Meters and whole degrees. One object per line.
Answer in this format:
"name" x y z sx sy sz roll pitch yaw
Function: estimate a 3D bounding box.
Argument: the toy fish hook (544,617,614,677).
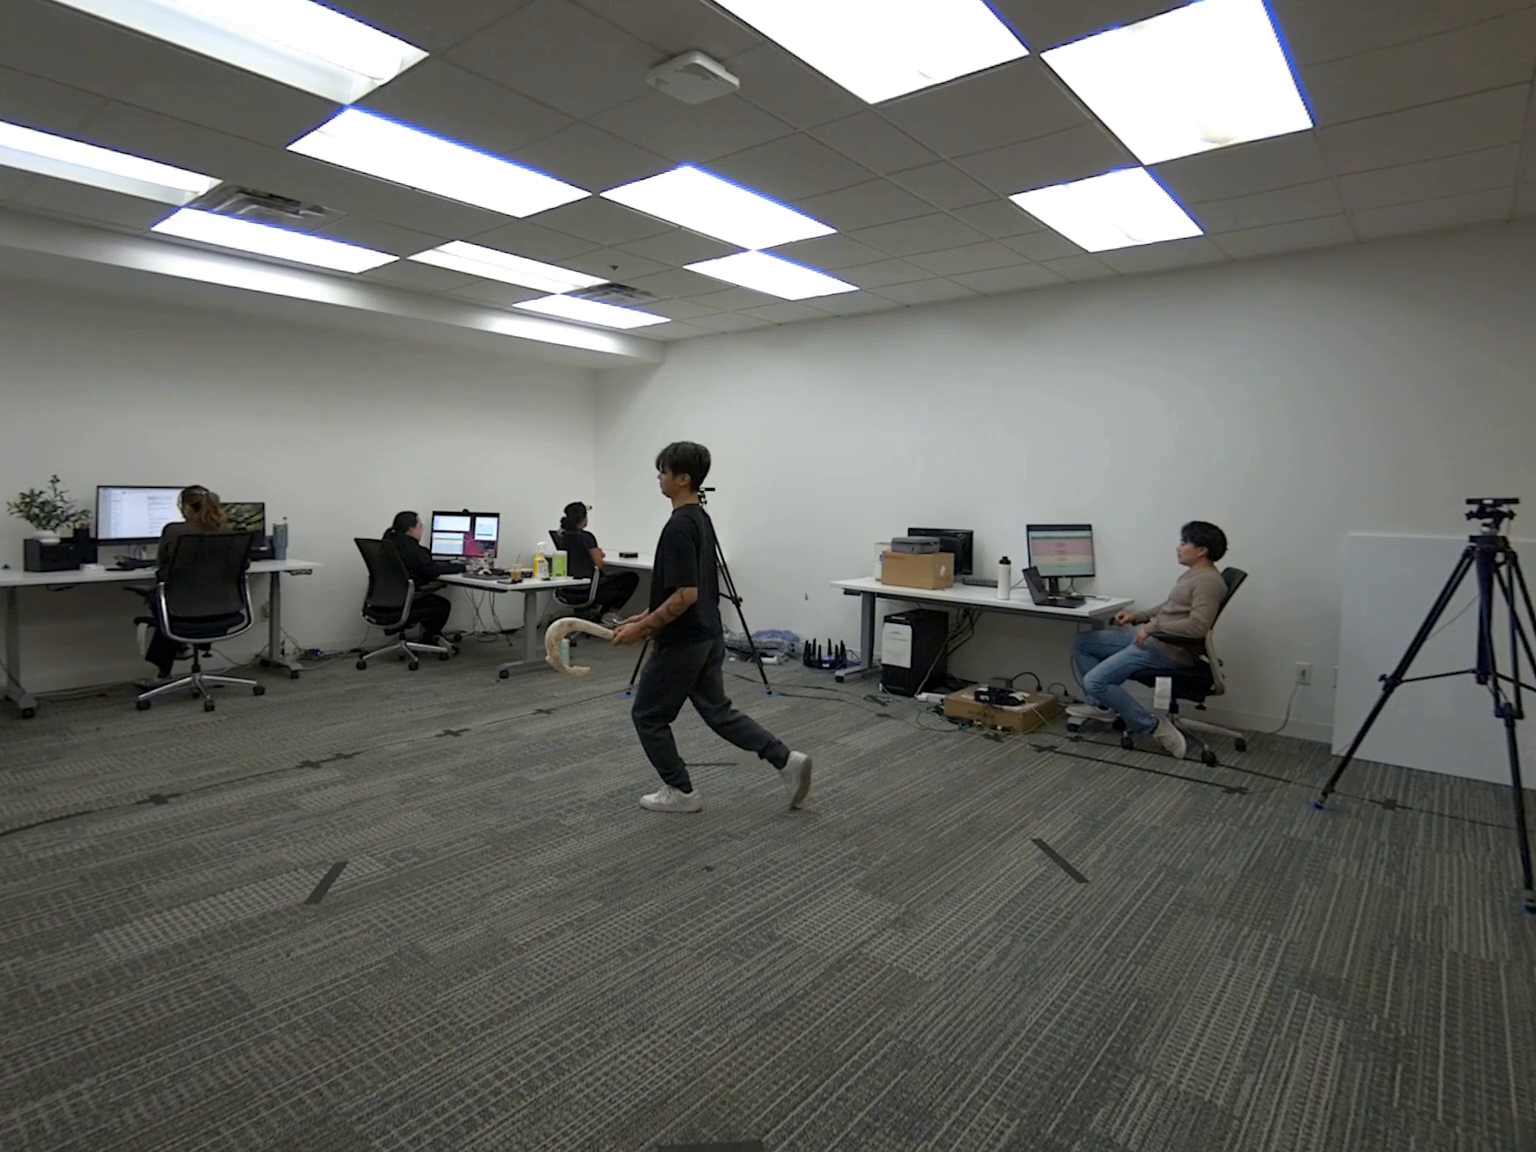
"toy fish hook" -0.683 0.273 3.368 0.489 0.226 0.050 6 -8 -43
